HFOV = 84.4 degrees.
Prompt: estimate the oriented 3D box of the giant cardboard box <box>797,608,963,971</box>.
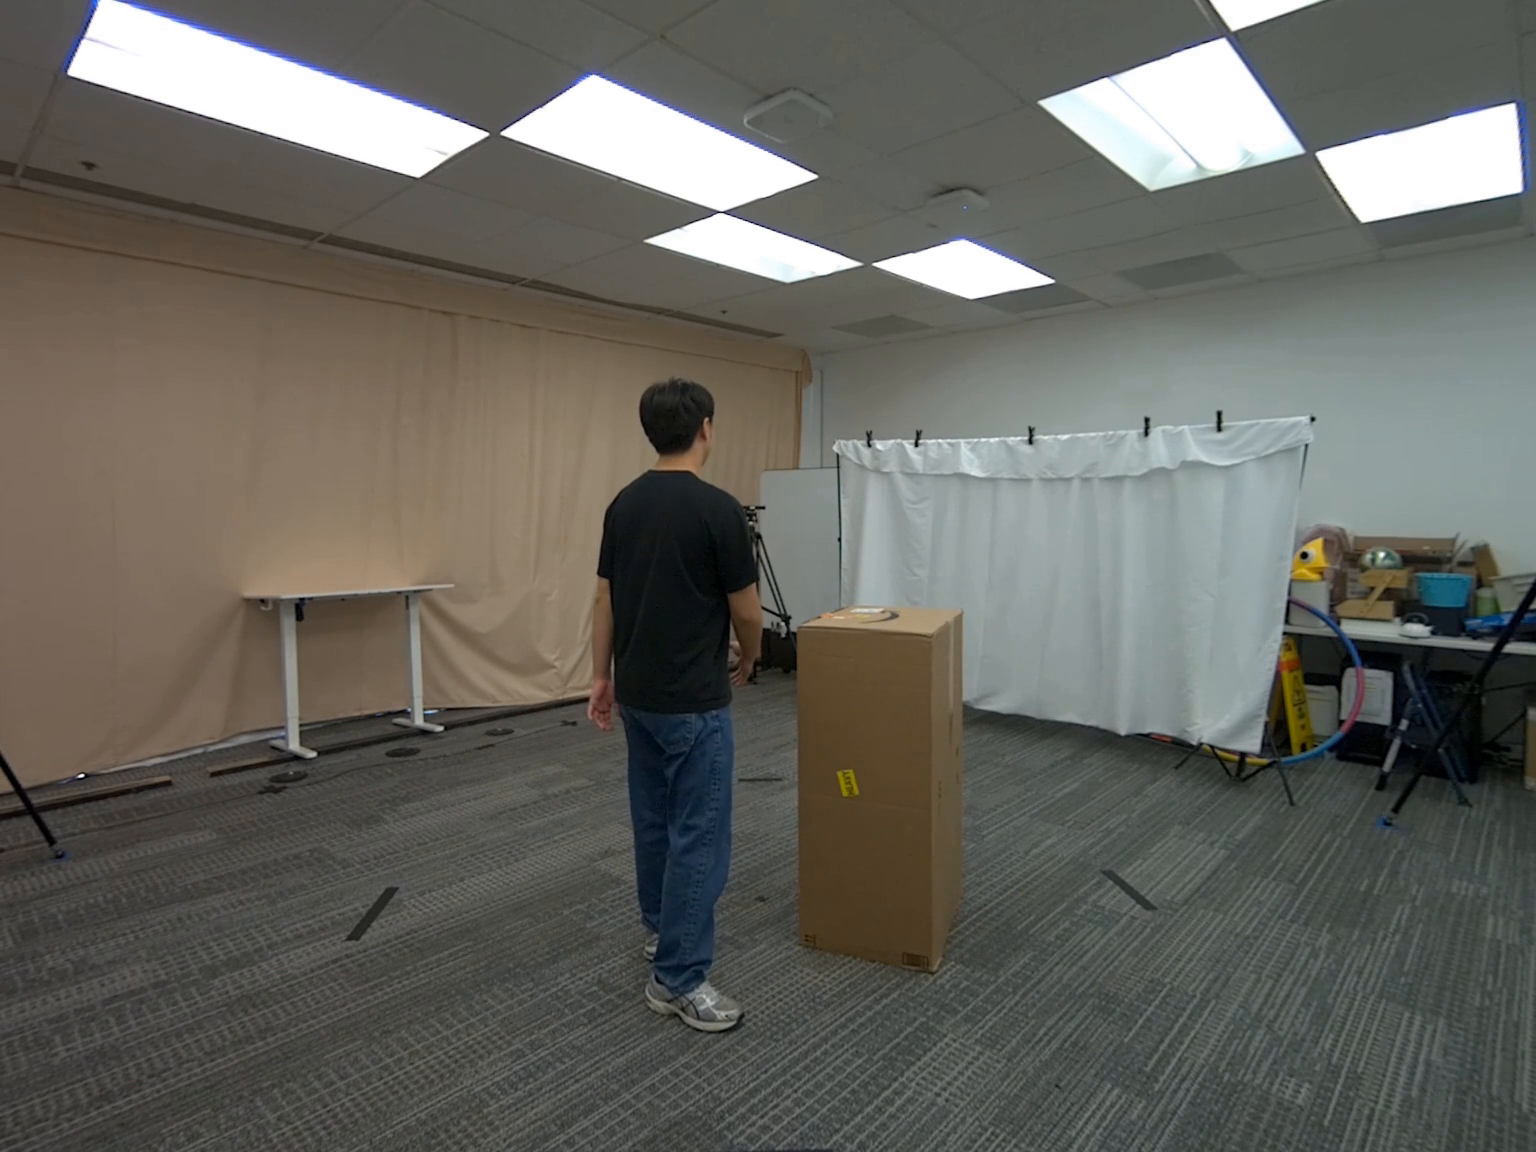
[{"bbox_3d":[0.394,0.644,2.818,0.458,1.025,0.570,0,3,25],"label":"giant cardboard box"}]
